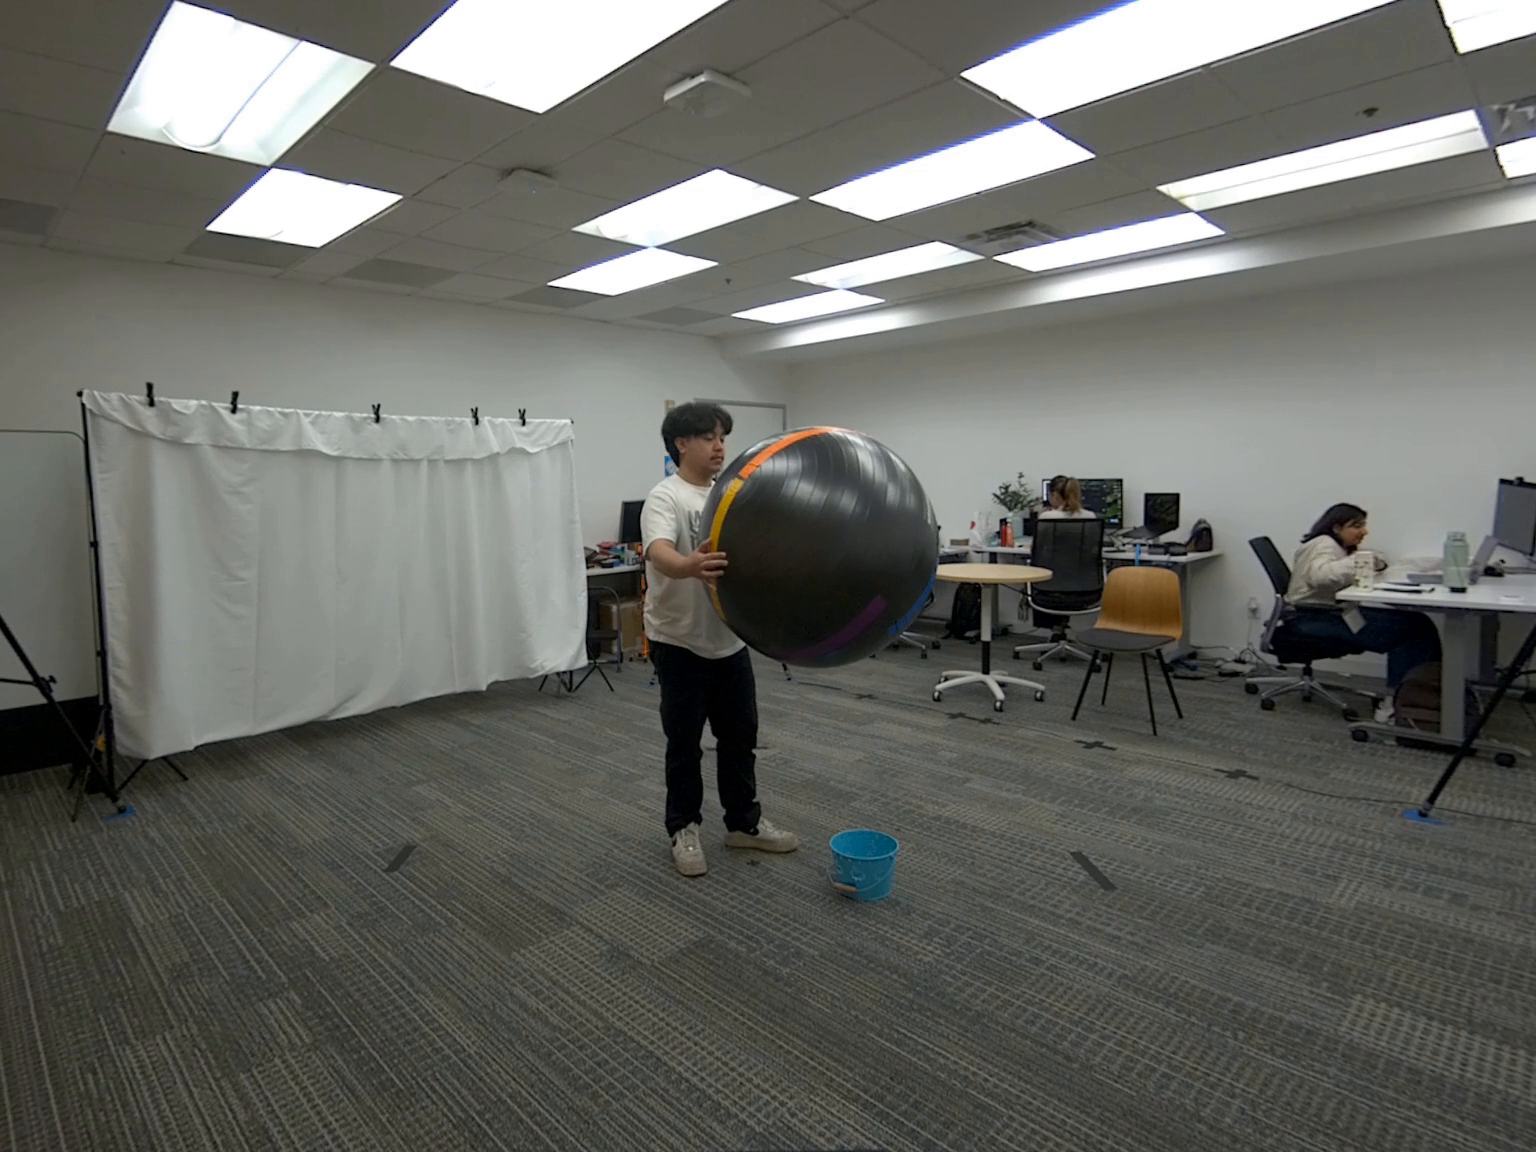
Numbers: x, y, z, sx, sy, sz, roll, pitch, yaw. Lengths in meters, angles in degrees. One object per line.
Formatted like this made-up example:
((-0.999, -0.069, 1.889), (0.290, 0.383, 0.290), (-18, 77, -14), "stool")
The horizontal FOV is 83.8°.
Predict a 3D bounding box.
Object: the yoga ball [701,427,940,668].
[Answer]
((0.158, -0.087, 2.704), (0.757, 0.755, 0.762), (-1, 5, -2), "yoga ball")
